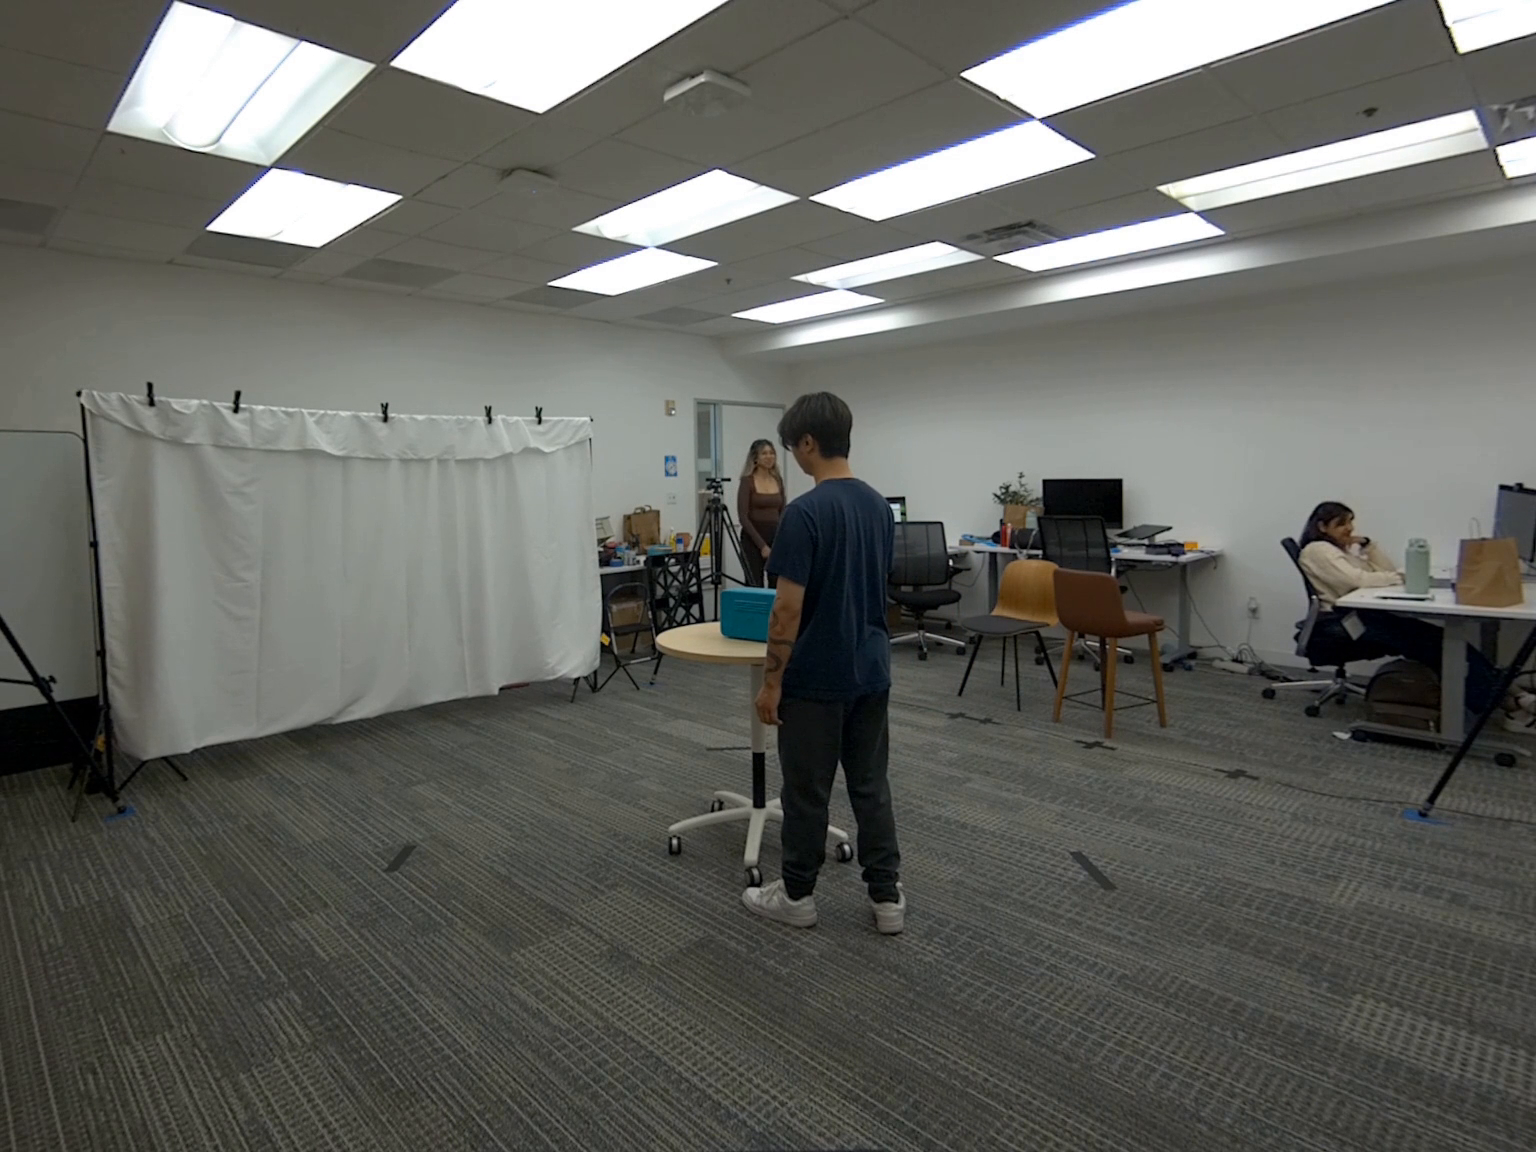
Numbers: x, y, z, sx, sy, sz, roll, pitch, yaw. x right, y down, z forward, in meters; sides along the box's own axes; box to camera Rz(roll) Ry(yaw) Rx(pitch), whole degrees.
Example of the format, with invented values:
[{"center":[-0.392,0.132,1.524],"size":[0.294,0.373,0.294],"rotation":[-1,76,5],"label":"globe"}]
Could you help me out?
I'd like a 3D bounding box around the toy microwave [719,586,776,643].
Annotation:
[{"center":[-0.028,0.143,3.193],"size":[0.294,0.183,0.149],"rotation":[4,5,33],"label":"toy microwave"}]
